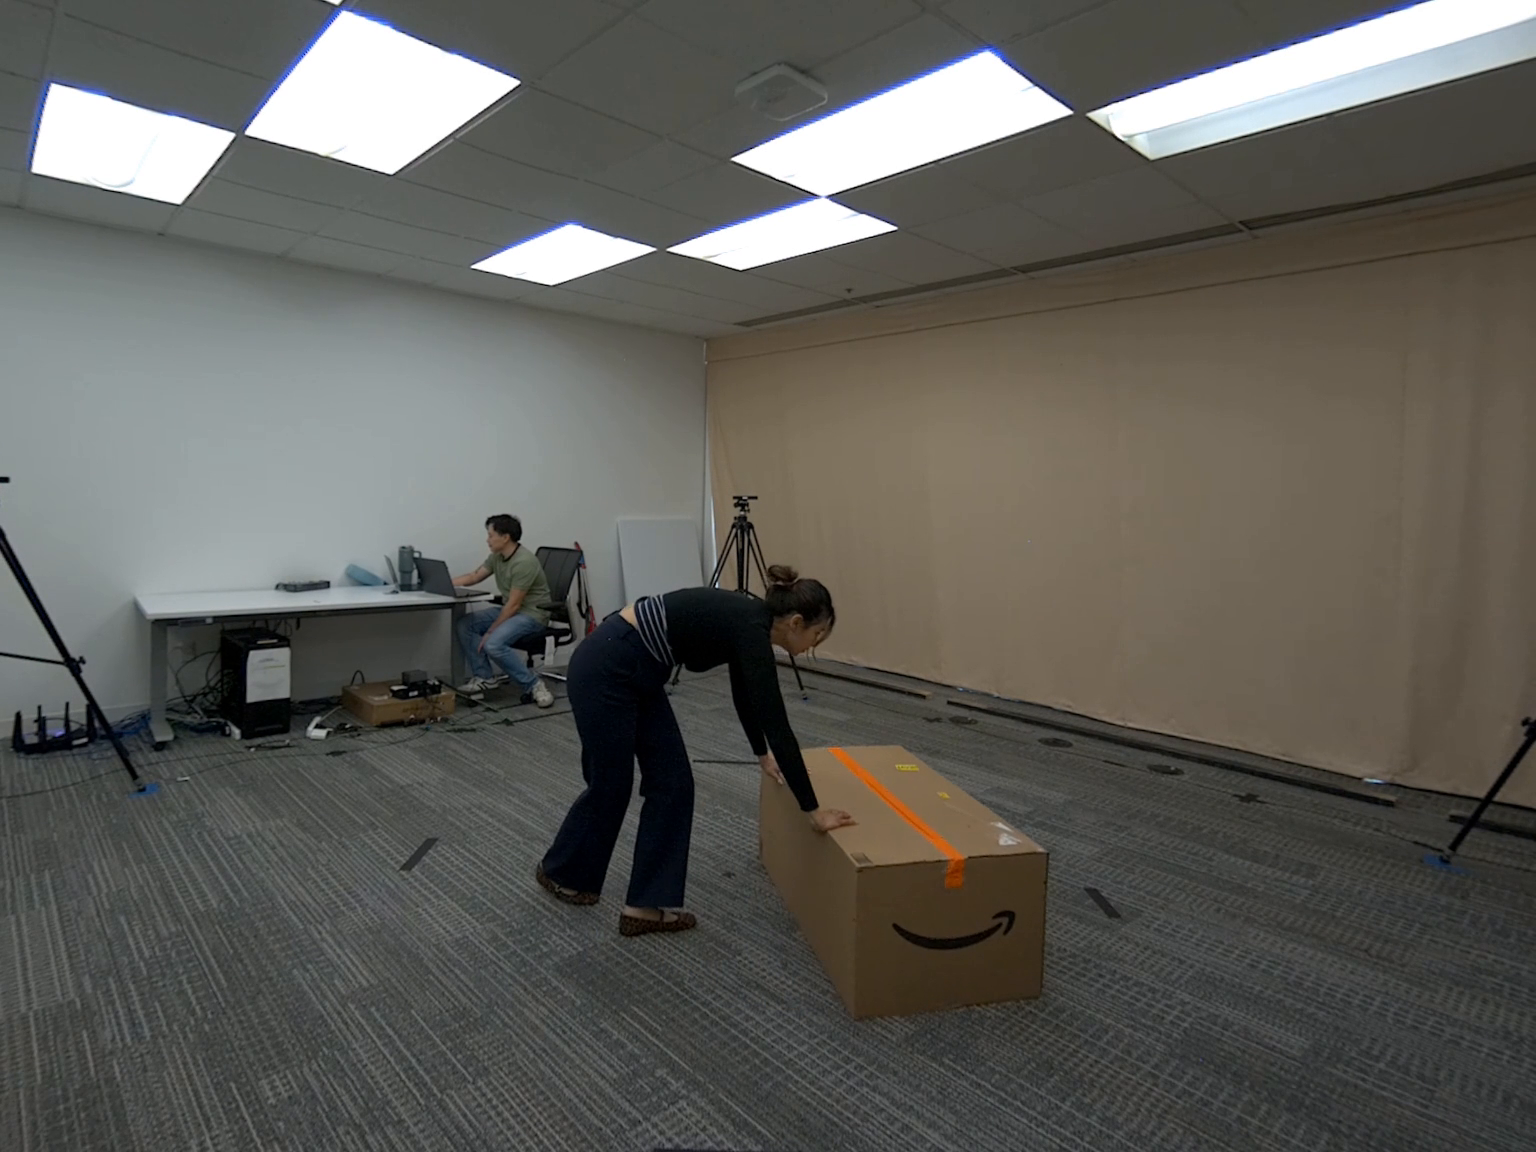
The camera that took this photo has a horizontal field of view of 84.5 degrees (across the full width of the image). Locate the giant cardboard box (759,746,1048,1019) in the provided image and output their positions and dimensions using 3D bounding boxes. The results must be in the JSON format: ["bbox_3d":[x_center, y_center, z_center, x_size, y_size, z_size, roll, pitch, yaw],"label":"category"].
[{"bbox_3d":[0.369,0.930,2.804,0.571,0.425,1.040,0,6,-14],"label":"giant cardboard box"}]
